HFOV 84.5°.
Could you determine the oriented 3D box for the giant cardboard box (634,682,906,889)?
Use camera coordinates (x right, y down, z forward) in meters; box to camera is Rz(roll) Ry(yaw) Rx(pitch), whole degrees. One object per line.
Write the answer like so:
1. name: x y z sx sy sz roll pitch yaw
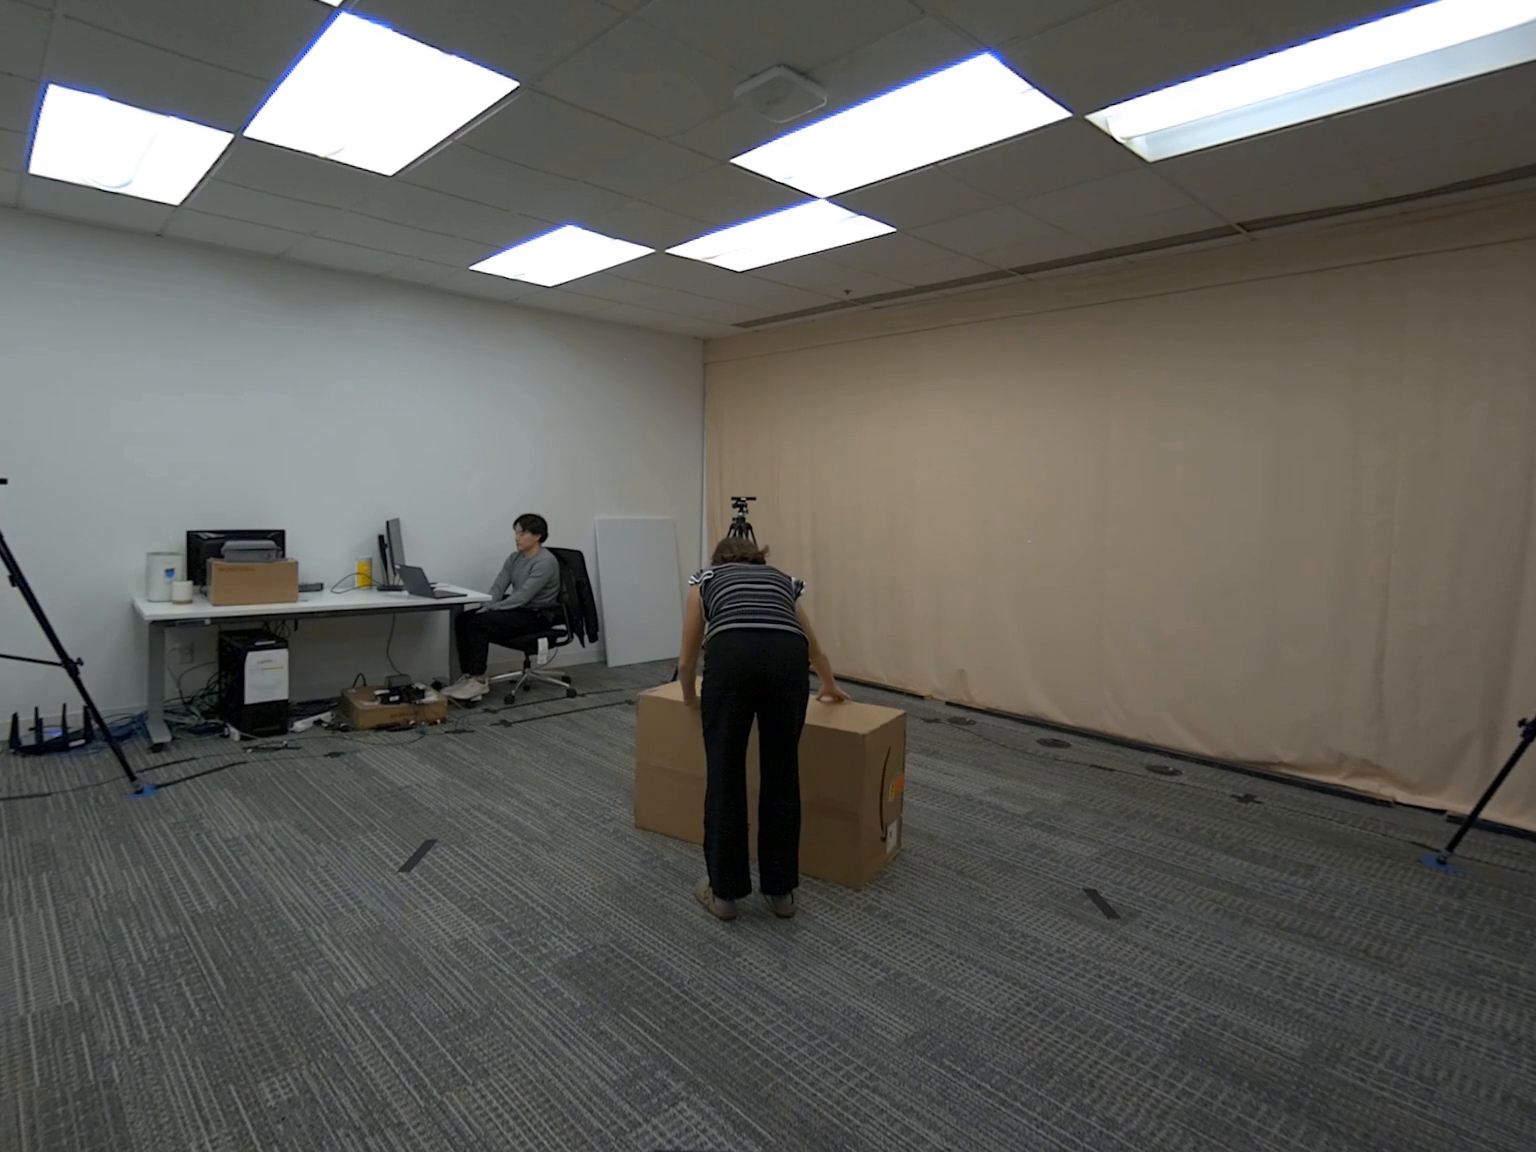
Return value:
1. giant cardboard box: -0.009 0.788 3.431 1.049 0.576 0.418 4 5 31
